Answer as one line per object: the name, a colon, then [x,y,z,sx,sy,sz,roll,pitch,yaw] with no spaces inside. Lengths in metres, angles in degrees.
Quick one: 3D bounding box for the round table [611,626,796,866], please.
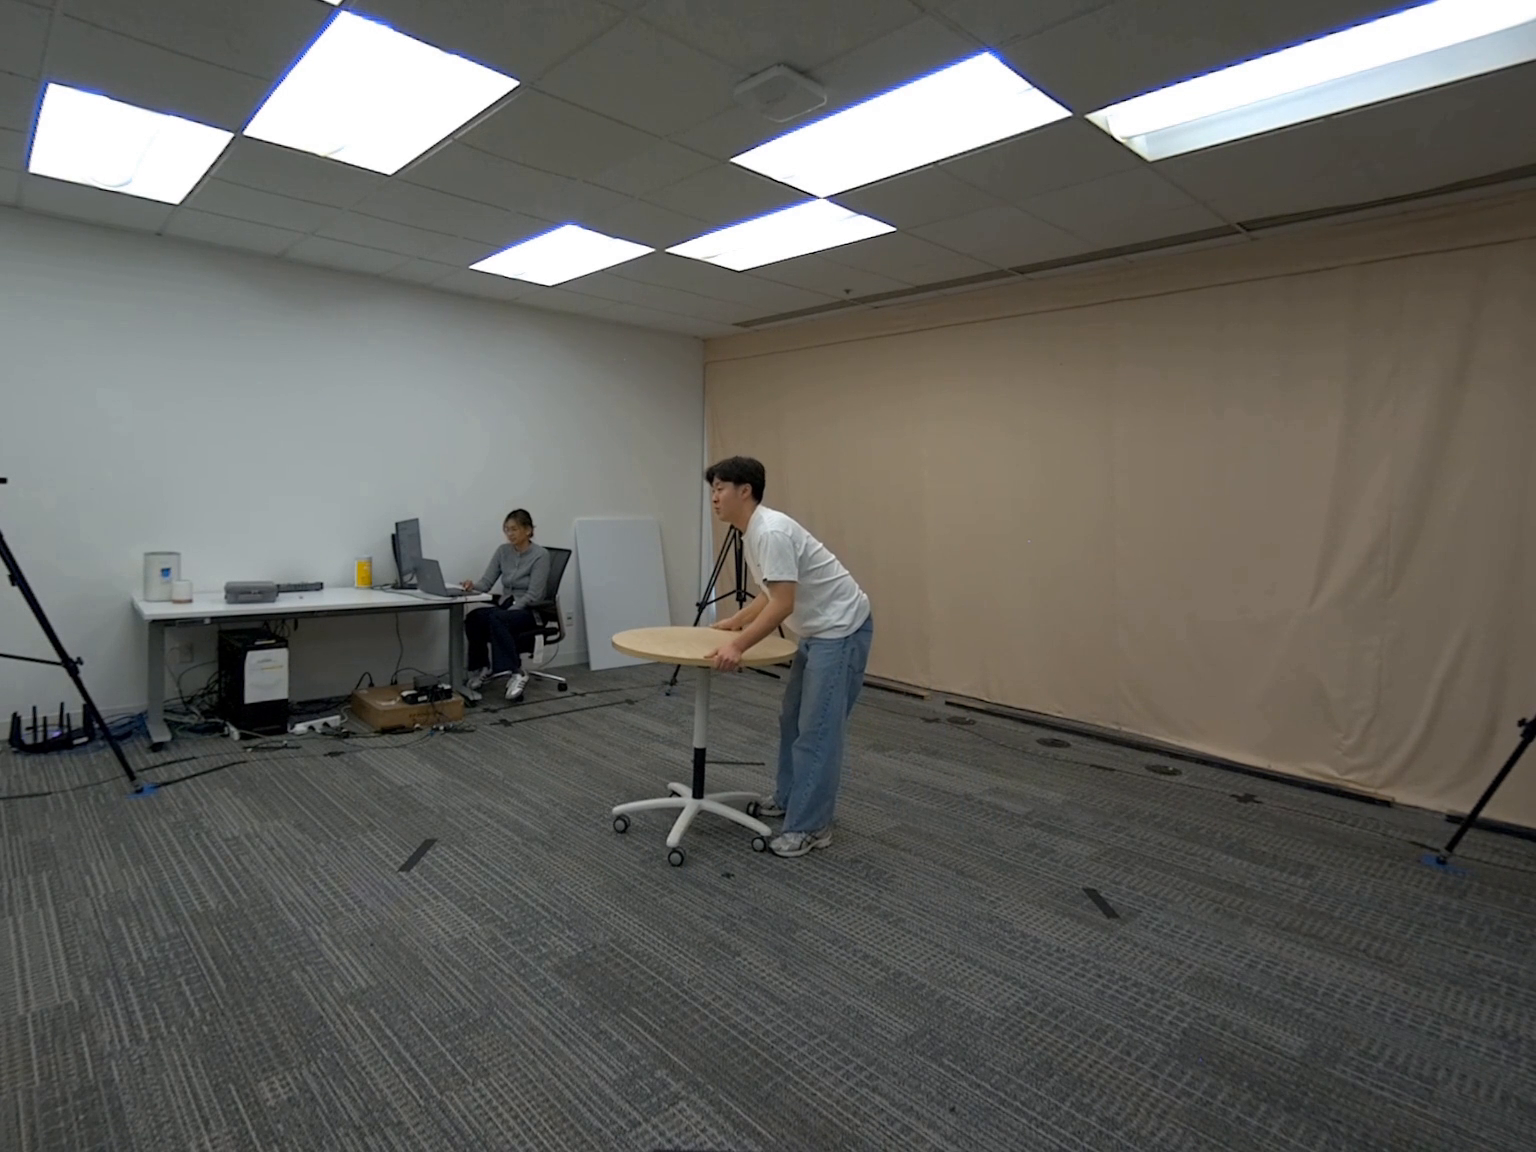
round table: [-0.290,0.659,3.472,0.784,0.784,0.788,3,4,-2]
